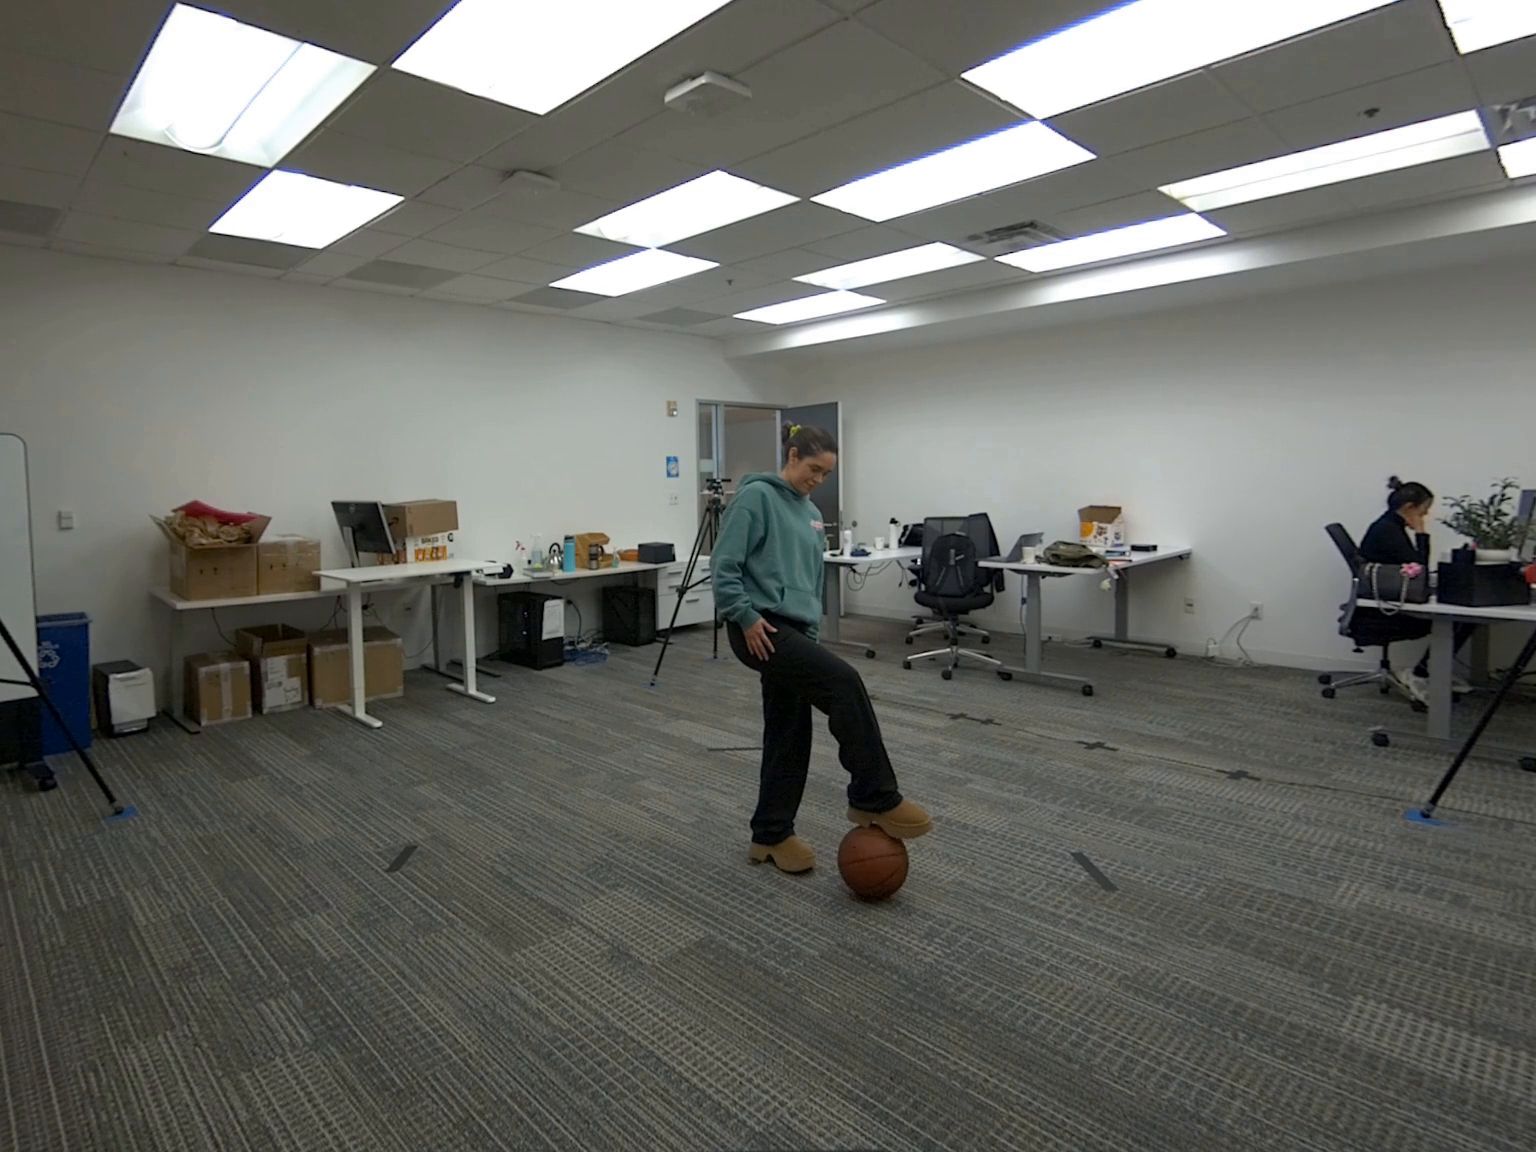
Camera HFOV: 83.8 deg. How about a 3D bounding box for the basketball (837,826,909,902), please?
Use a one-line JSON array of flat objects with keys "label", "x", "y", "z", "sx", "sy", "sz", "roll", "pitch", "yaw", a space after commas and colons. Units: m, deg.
[{"label": "basketball", "x": 0.352, "y": 0.950, "z": 2.844, "sx": 0.236, "sy": 0.235, "sz": 0.237, "roll": -1, "pitch": 5, "yaw": -2}]
